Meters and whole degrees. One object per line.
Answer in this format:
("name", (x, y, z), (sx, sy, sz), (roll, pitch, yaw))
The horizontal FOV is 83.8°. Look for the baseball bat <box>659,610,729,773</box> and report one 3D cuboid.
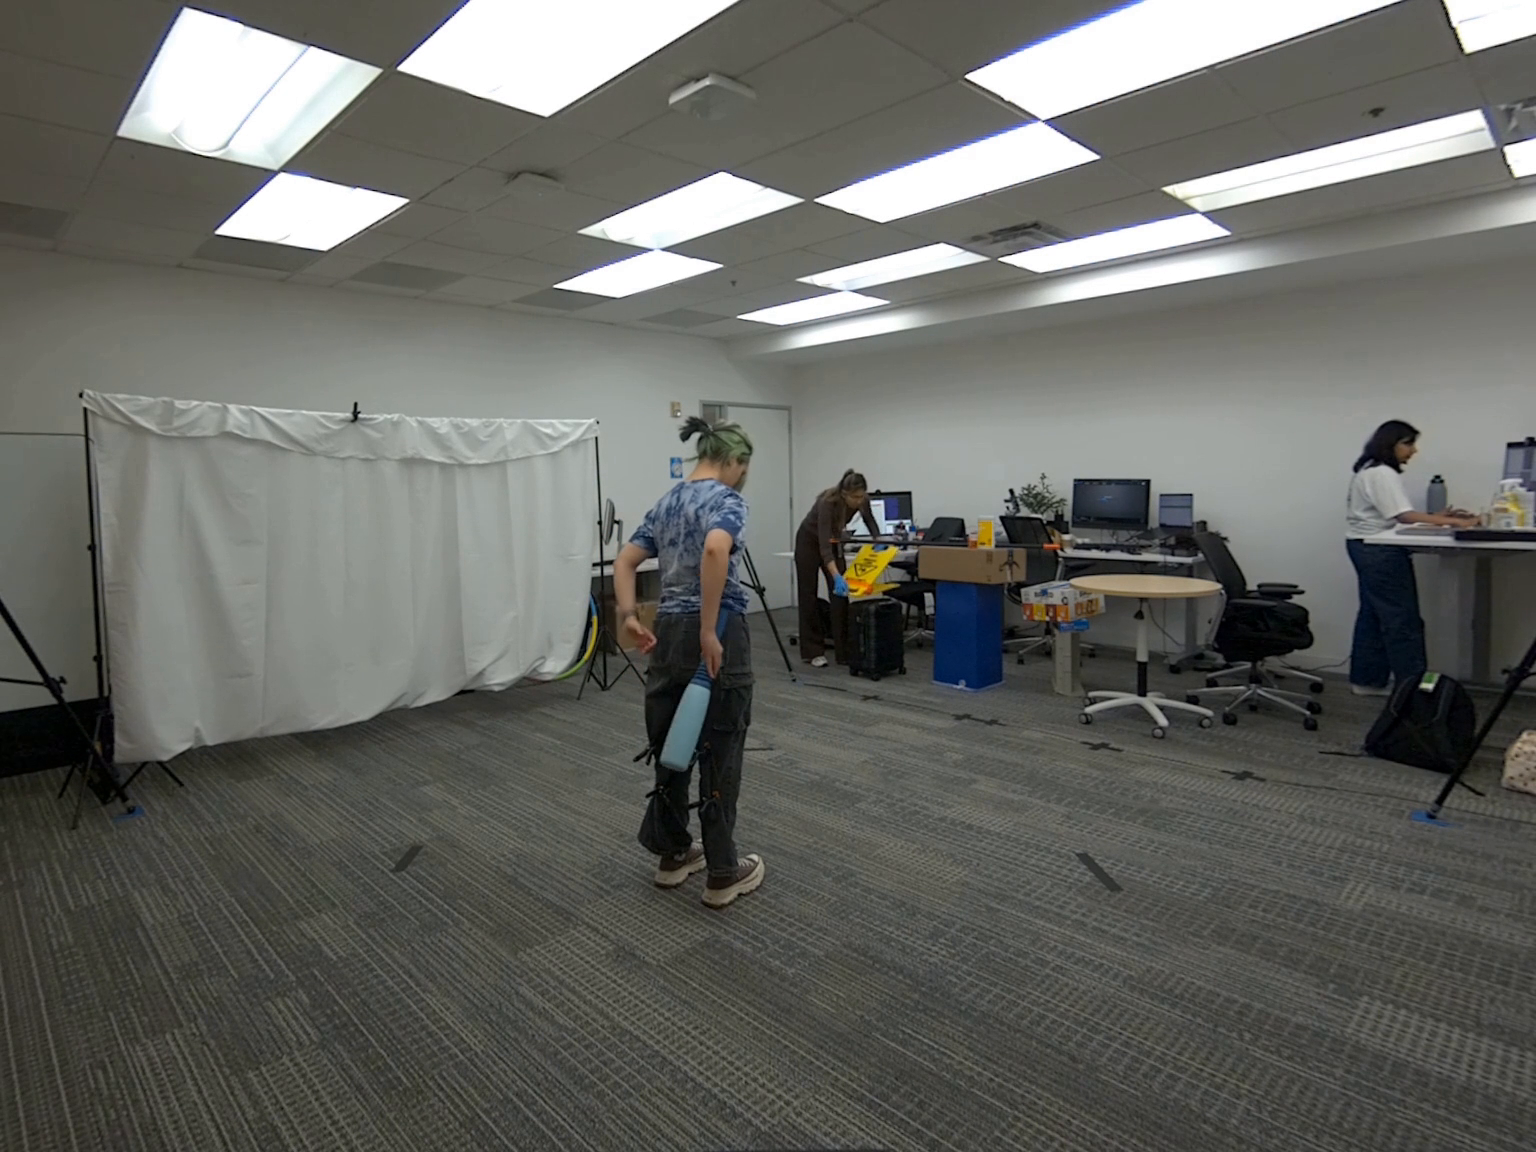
("baseball bat", (-0.200, 0.324, 2.607), (0.089, 0.550, 0.087), (14, -22, 4))
